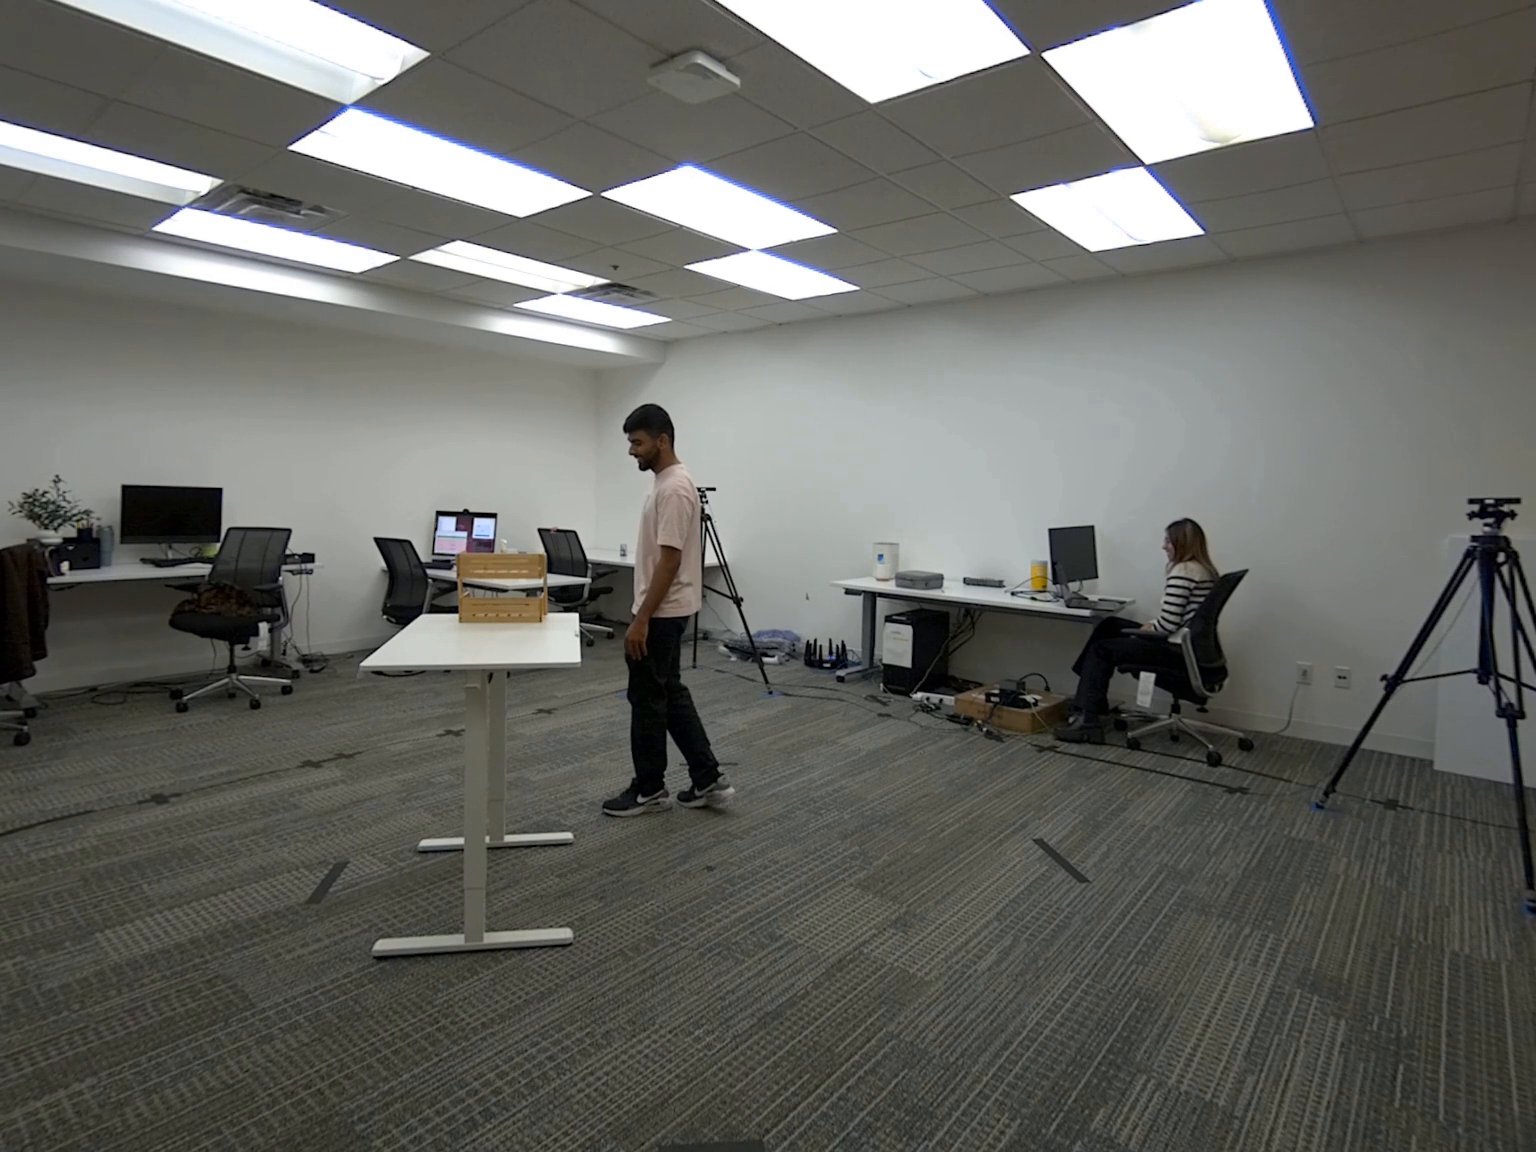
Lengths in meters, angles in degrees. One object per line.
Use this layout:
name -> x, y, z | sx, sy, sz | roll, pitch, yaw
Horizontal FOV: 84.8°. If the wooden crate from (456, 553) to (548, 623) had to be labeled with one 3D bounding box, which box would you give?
wooden crate -> -1.026, 0.031, 3.230 | 0.321, 0.272, 0.306 | 0, 5, -10
